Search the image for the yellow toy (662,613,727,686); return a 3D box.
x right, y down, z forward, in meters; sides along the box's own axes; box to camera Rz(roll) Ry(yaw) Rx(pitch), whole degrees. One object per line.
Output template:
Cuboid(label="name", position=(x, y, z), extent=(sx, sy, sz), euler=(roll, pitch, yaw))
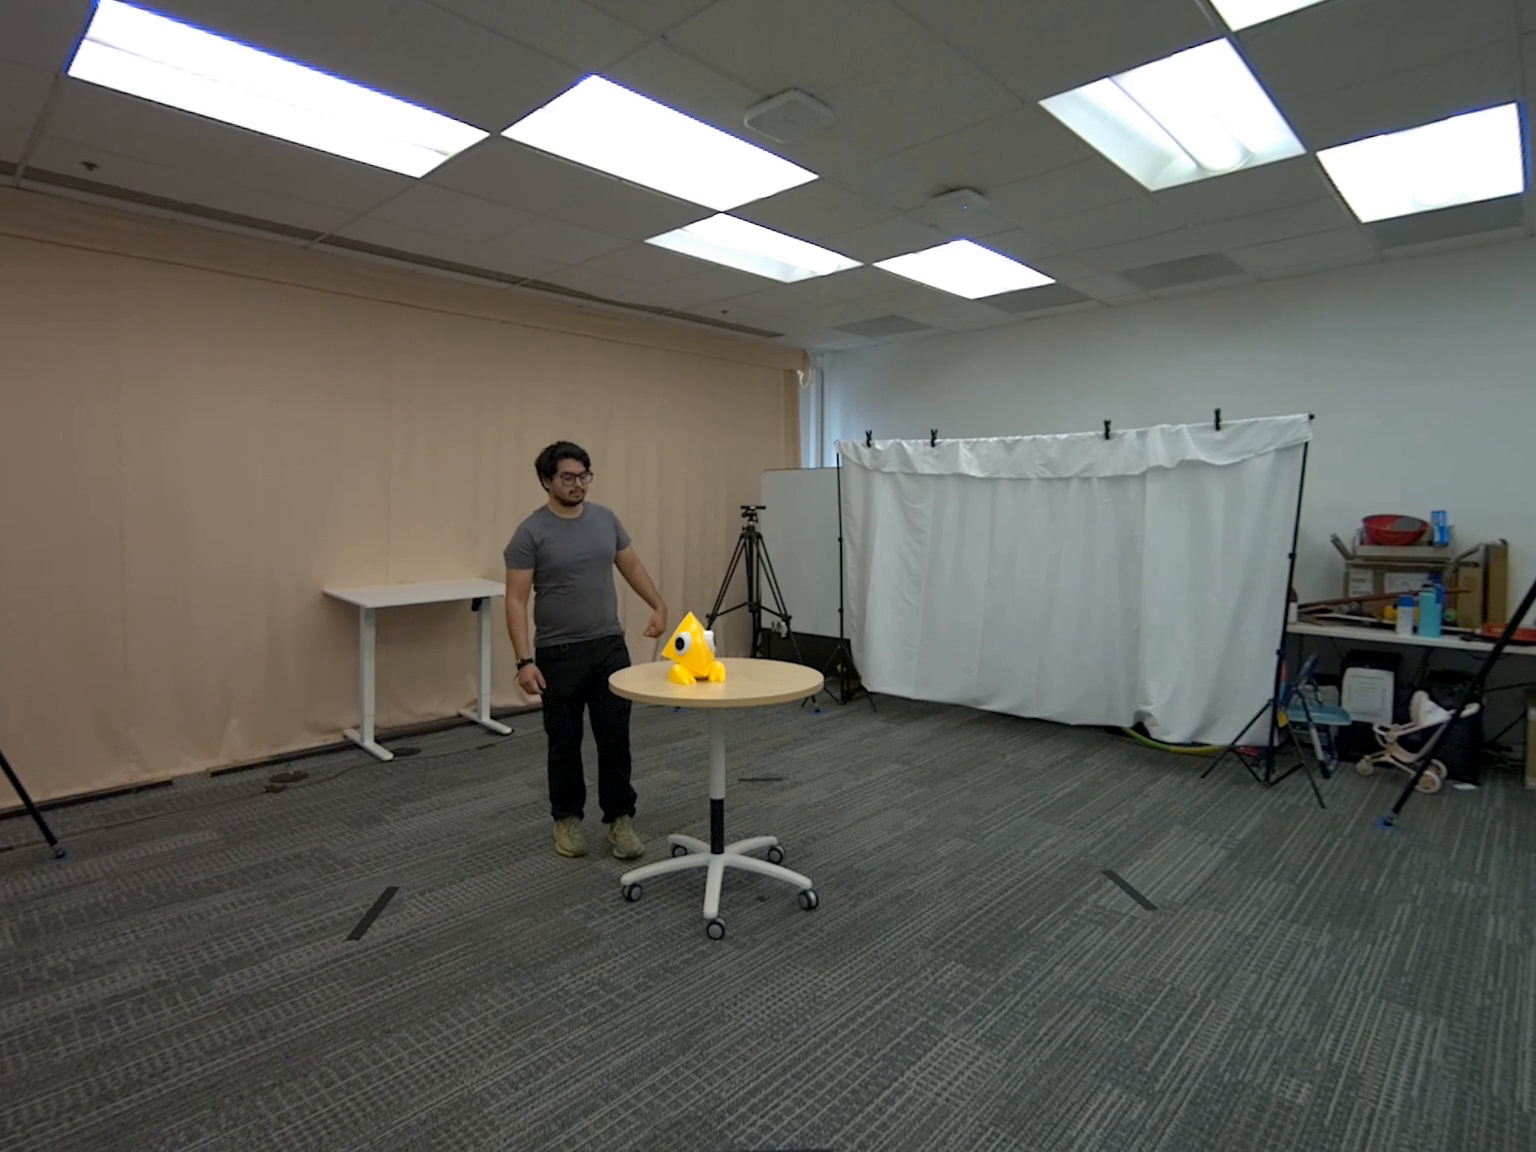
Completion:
Cuboid(label="yellow toy", position=(-0.251, 0.250, 2.971), extent=(0.200, 0.230, 0.198), euler=(-1, 3, -23))
